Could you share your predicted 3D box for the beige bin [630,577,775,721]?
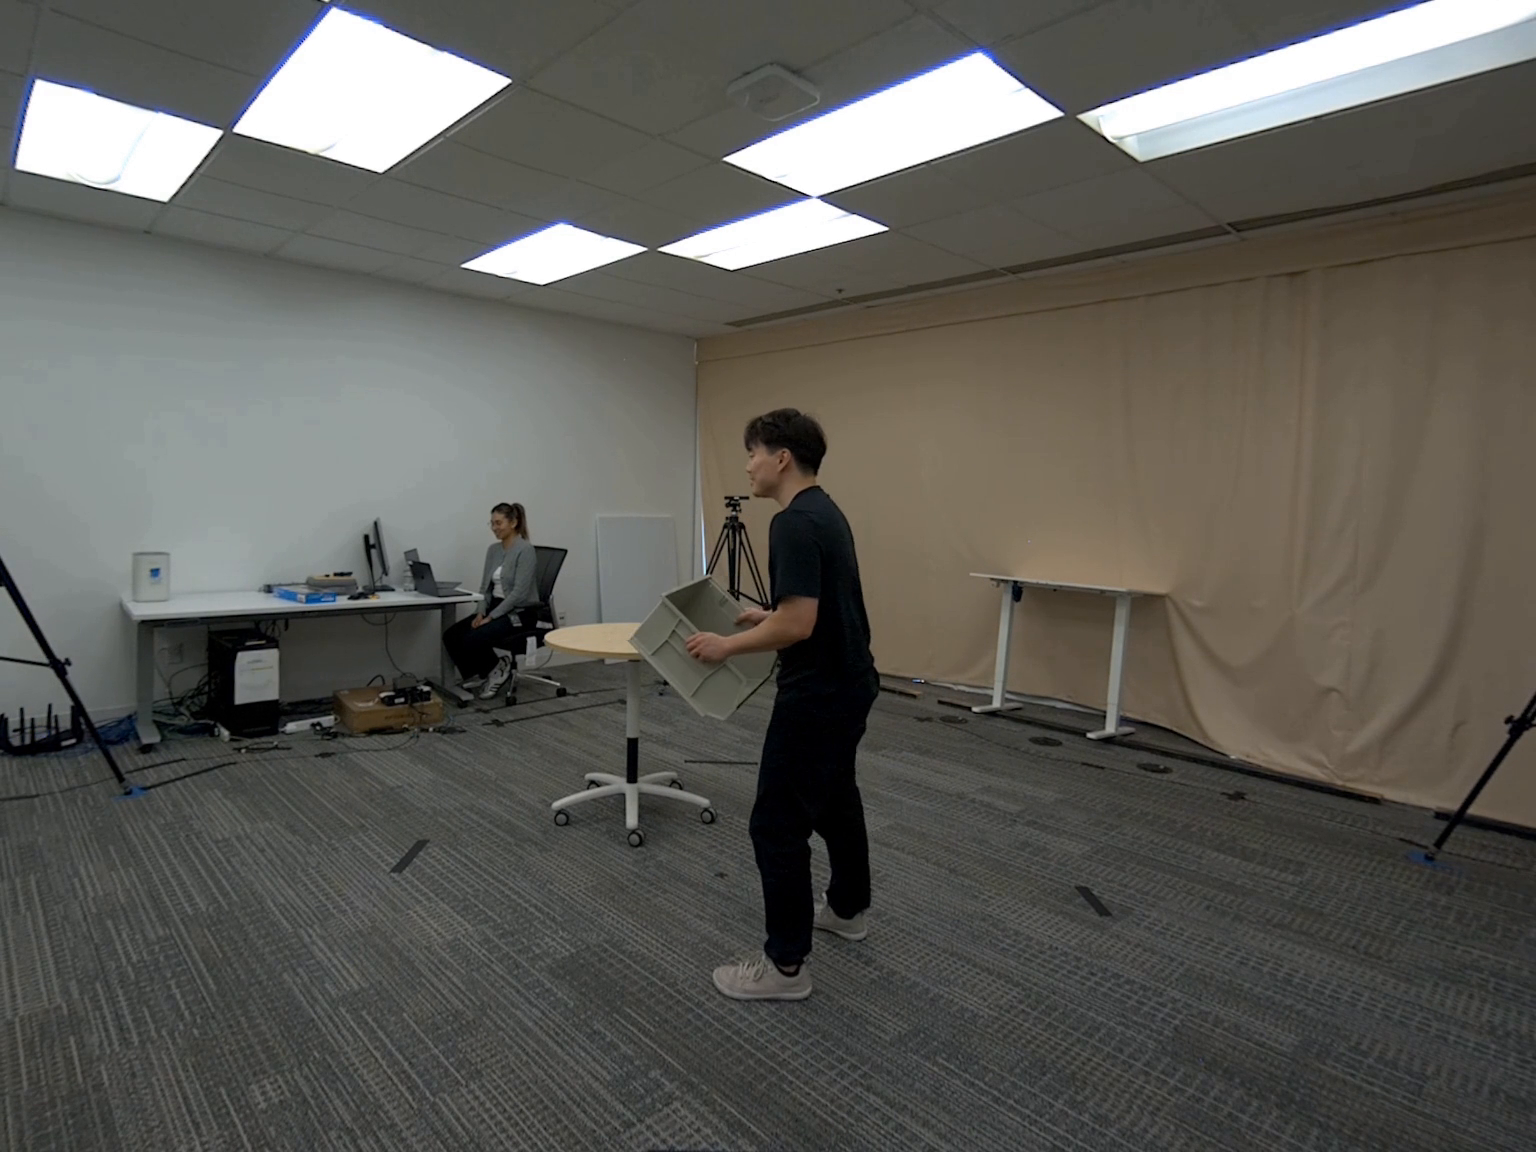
[{"bbox_3d":[-0.172,0.221,2.569,0.381,0.189,0.419,43,18,8],"label":"beige bin"}]
